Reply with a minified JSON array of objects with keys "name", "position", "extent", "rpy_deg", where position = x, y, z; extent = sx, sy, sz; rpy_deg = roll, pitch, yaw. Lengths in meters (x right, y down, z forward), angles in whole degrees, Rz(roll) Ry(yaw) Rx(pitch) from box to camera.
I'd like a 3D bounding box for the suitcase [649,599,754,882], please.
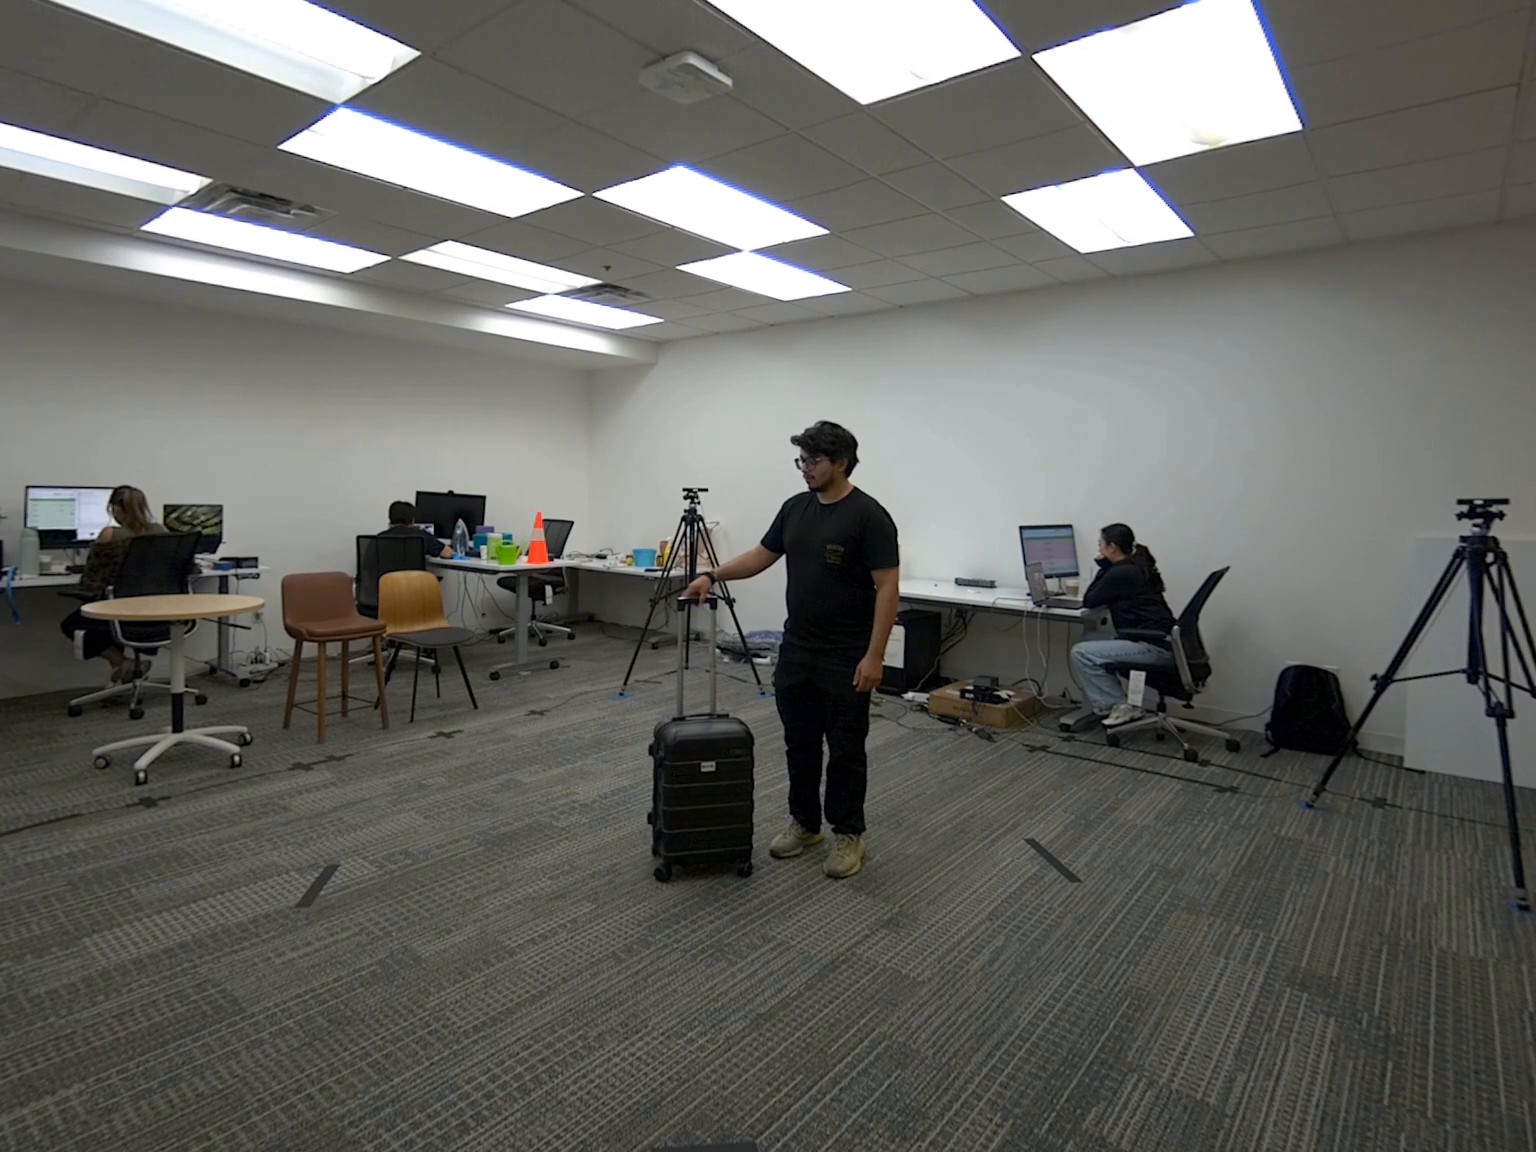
[{"name":"suitcase","position":[-0.248,0.594,3.120],"extent":[0.378,0.975,0.262],"rpy_deg":[0,4,-14]}]
